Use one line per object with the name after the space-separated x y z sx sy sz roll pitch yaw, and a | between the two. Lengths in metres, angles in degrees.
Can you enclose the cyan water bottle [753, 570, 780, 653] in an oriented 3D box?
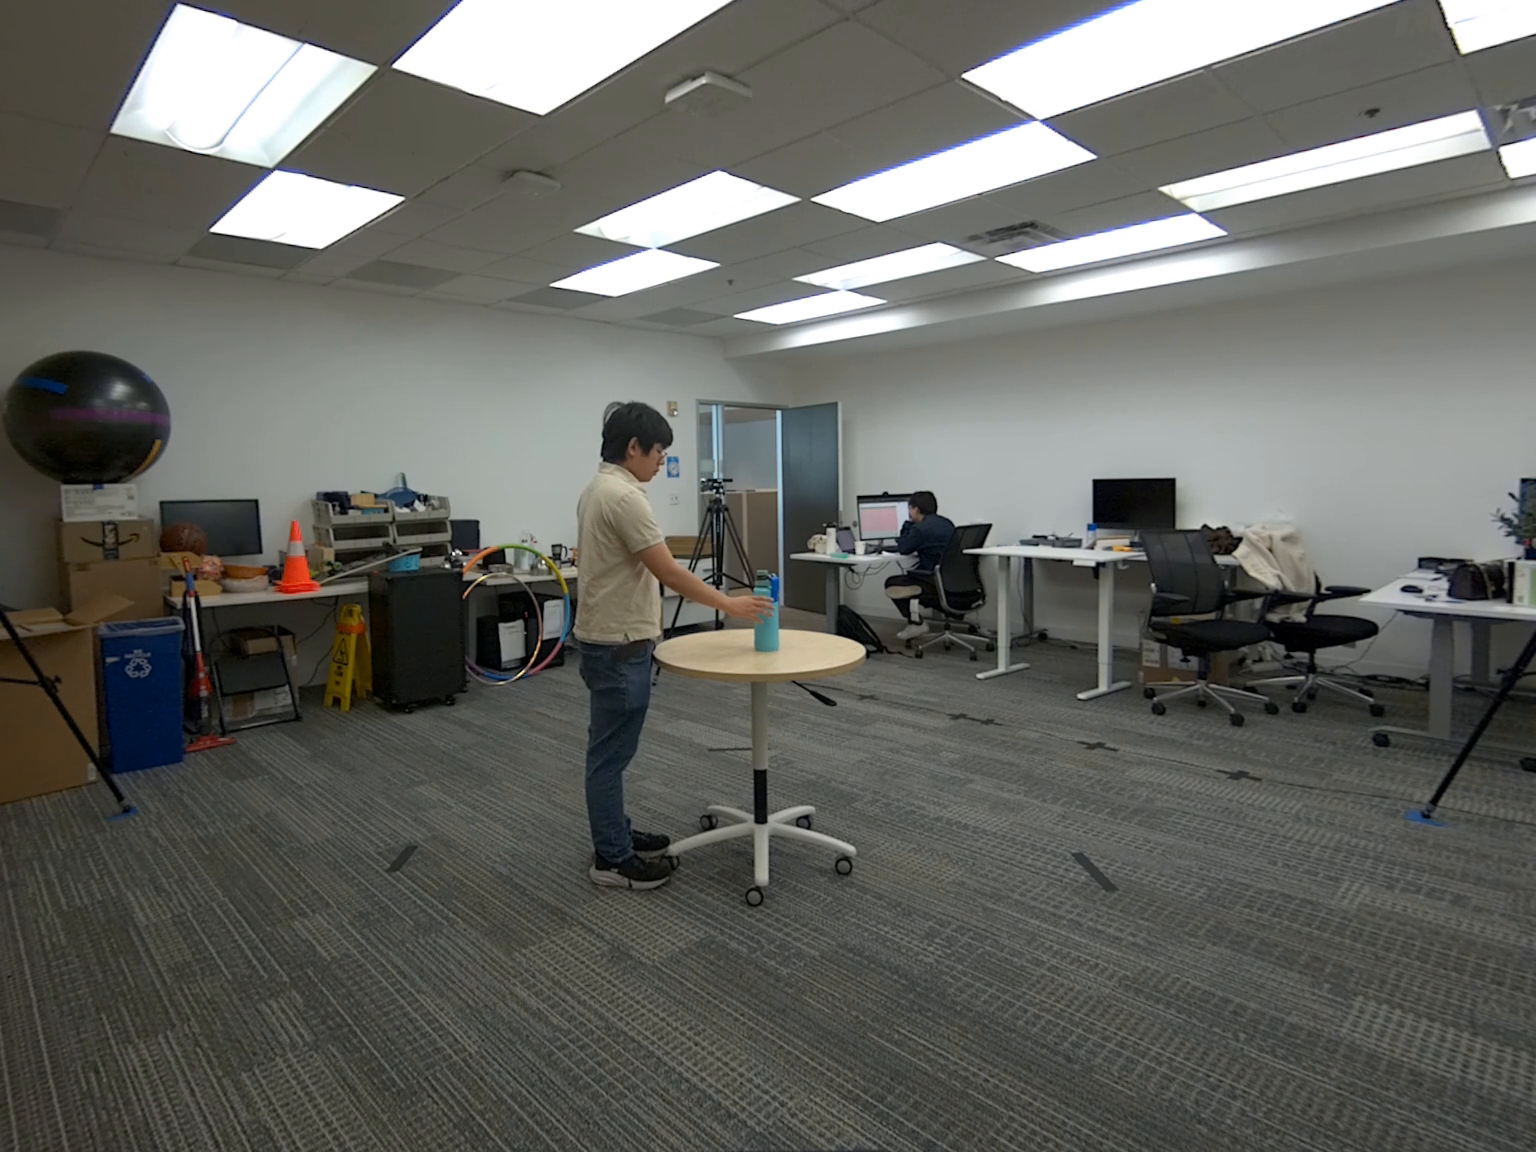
-0.008 0.122 3.066 0.092 0.282 0.093 0 6 -2 | cyan water bottle
